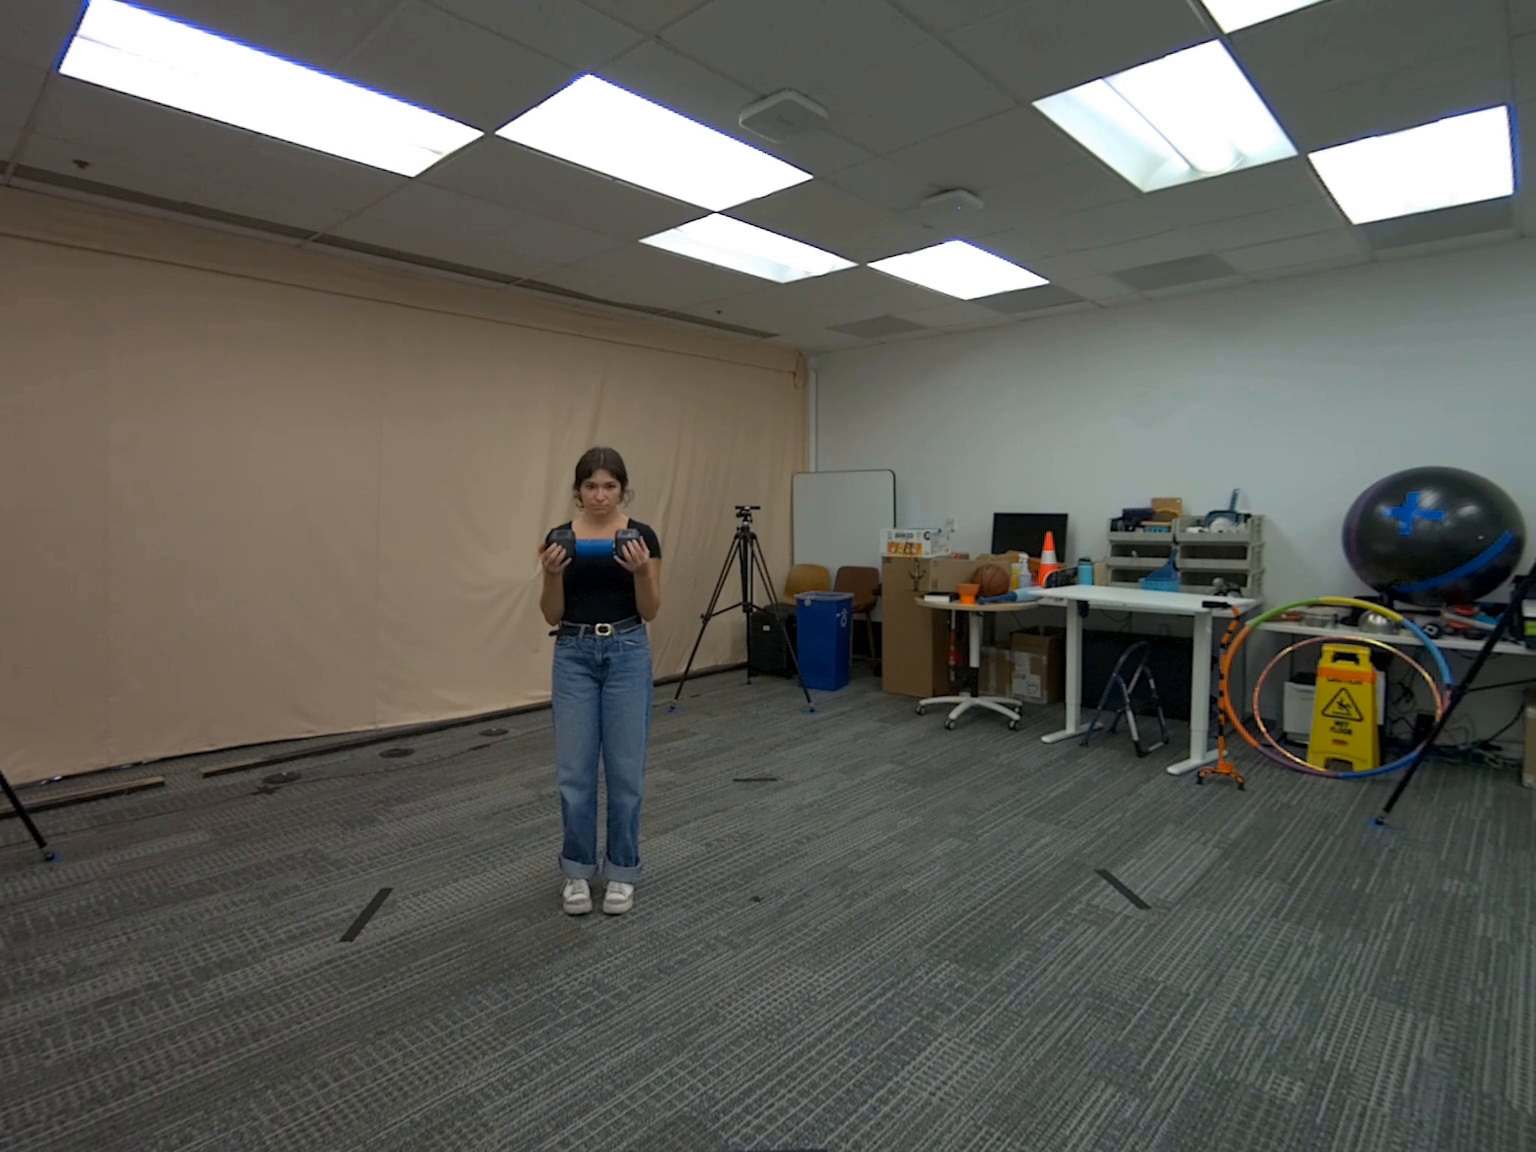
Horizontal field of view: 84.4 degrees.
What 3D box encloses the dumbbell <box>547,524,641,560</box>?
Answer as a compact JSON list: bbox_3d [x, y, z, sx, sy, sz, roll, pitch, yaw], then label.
[{"bbox_3d":[-0.575,-0.088,2.789,0.293,0.123,0.109,-2,2,-3],"label":"dumbbell"}]
